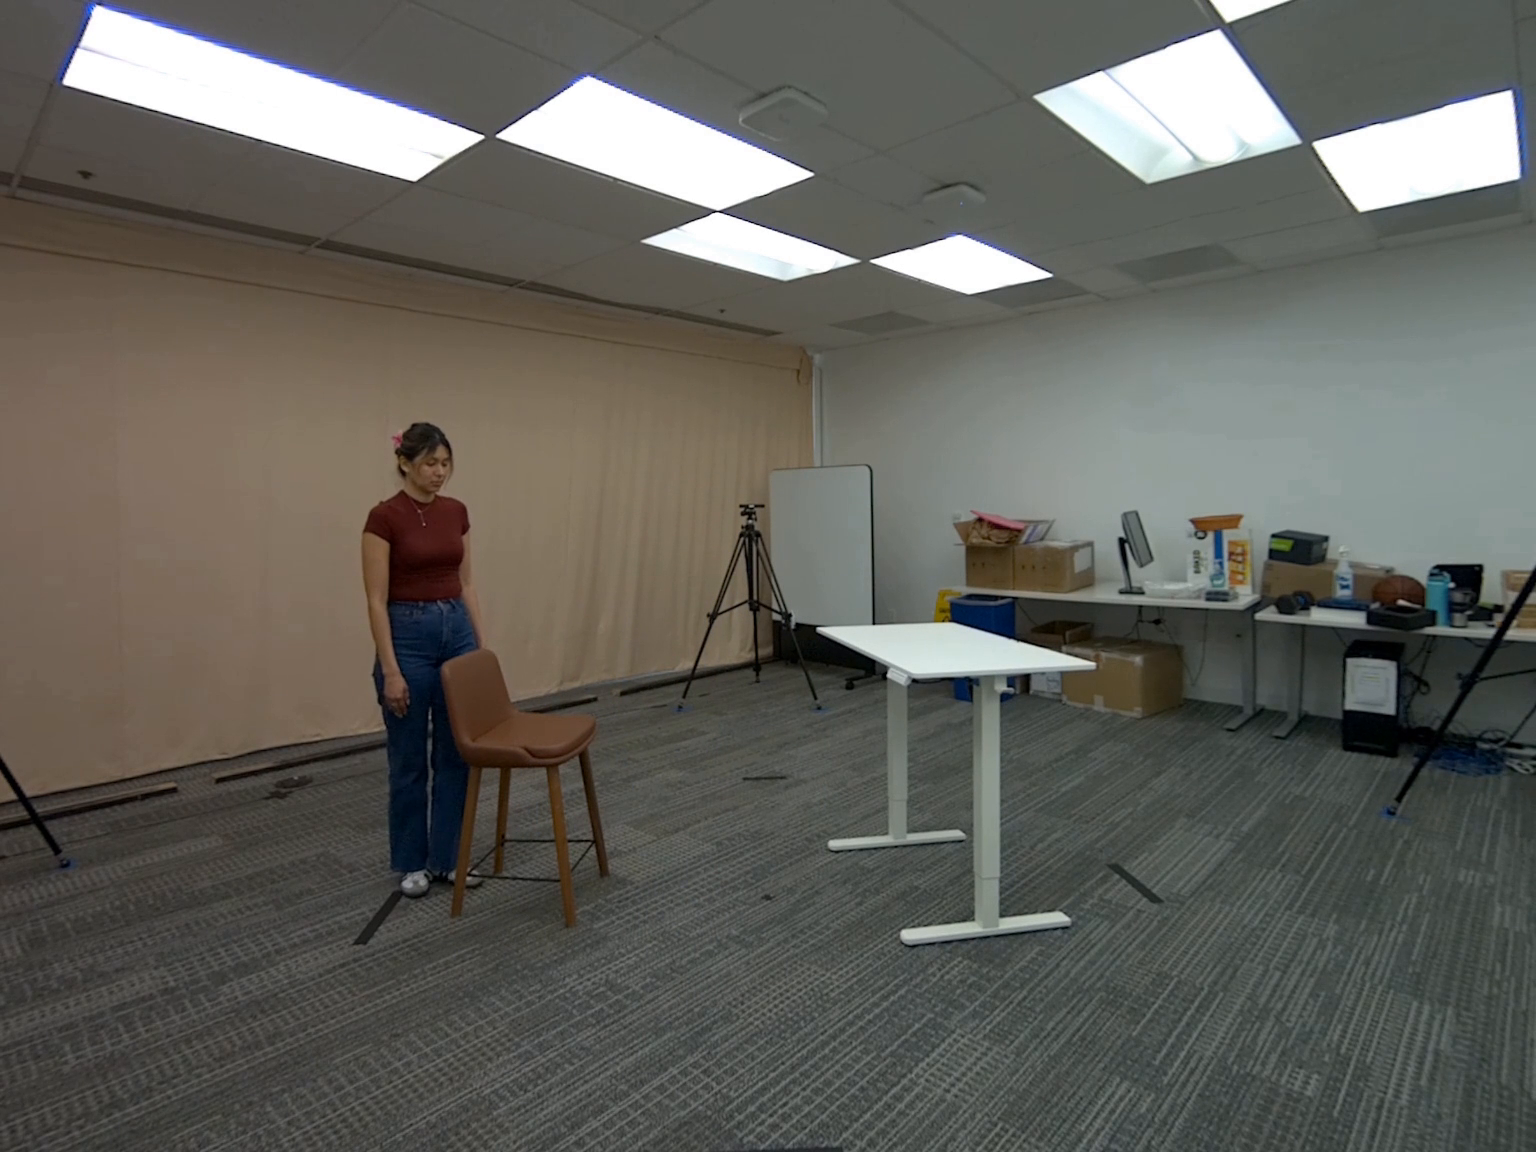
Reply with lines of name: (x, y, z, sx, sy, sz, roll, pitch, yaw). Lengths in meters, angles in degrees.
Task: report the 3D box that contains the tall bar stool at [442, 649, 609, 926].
tall bar stool: (-0.866, 0.724, 3.014, 0.472, 0.888, 0.453, -3, 3, 8)
